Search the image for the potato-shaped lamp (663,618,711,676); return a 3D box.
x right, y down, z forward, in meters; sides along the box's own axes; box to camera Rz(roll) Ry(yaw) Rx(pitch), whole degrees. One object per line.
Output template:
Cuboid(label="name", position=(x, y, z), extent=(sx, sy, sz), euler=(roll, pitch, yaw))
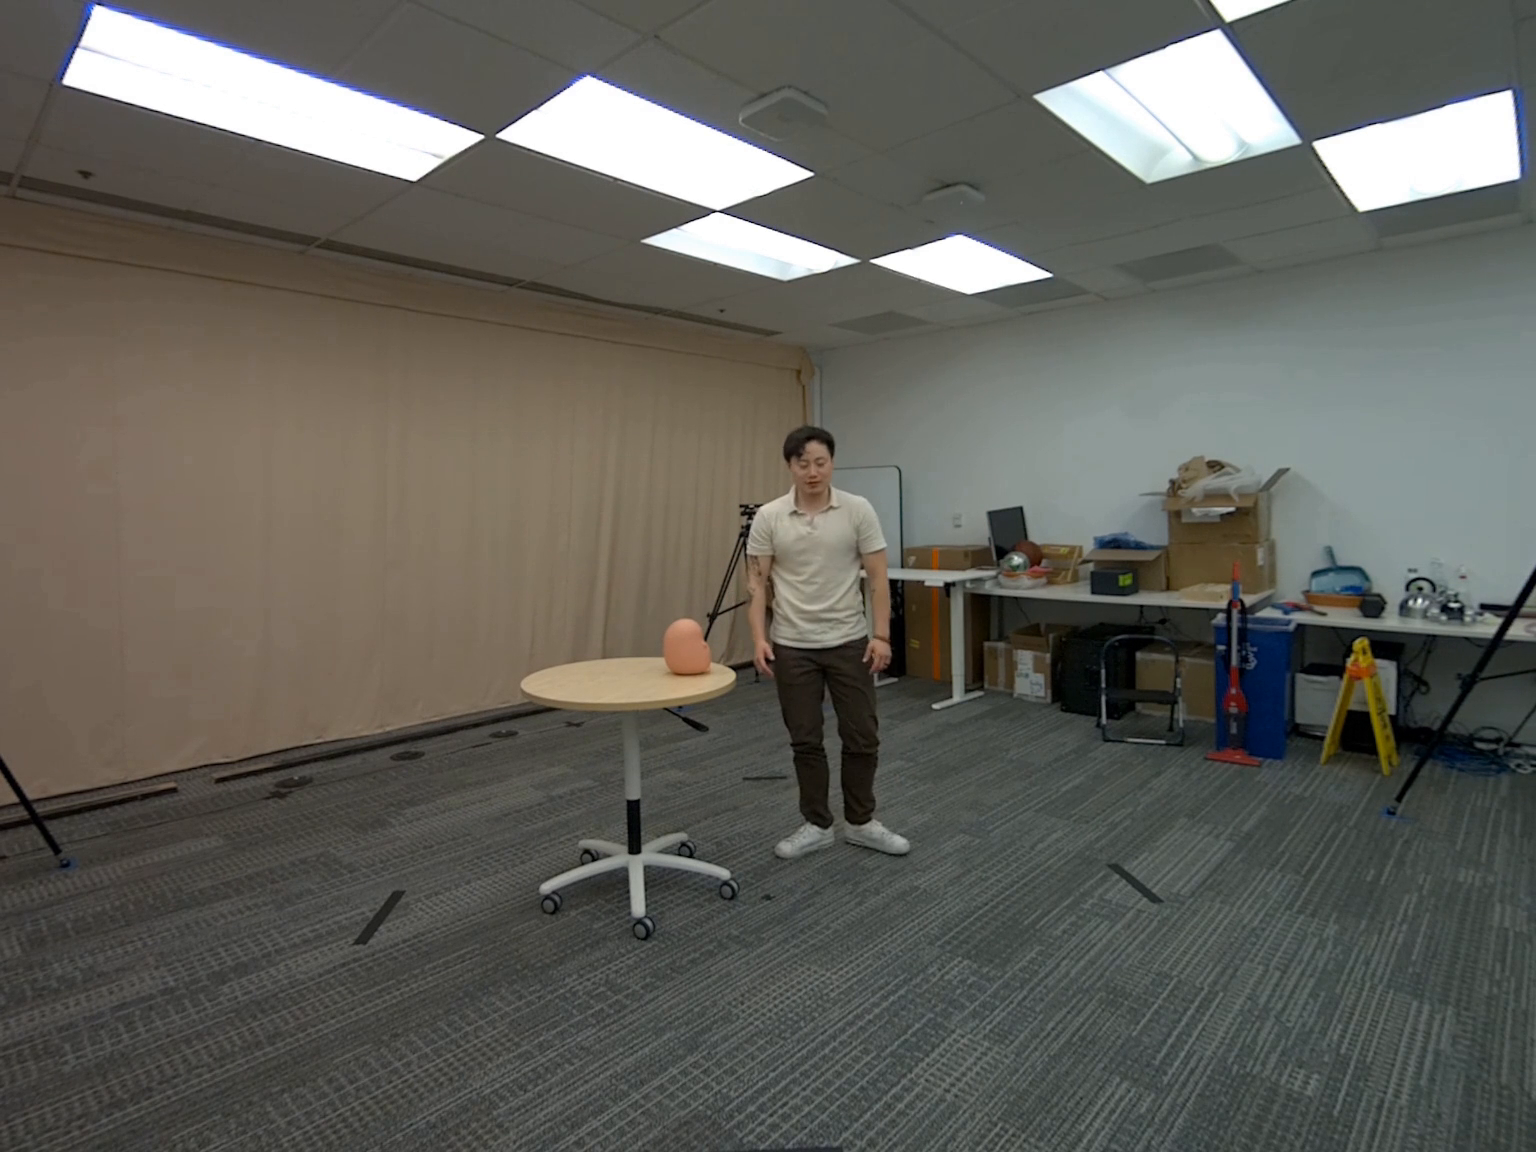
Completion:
Cuboid(label="potato-shaped lamp", position=(-0.299, 0.258, 3.072), extent=(0.168, 0.198, 0.168), euler=(-4, 3, -17))
